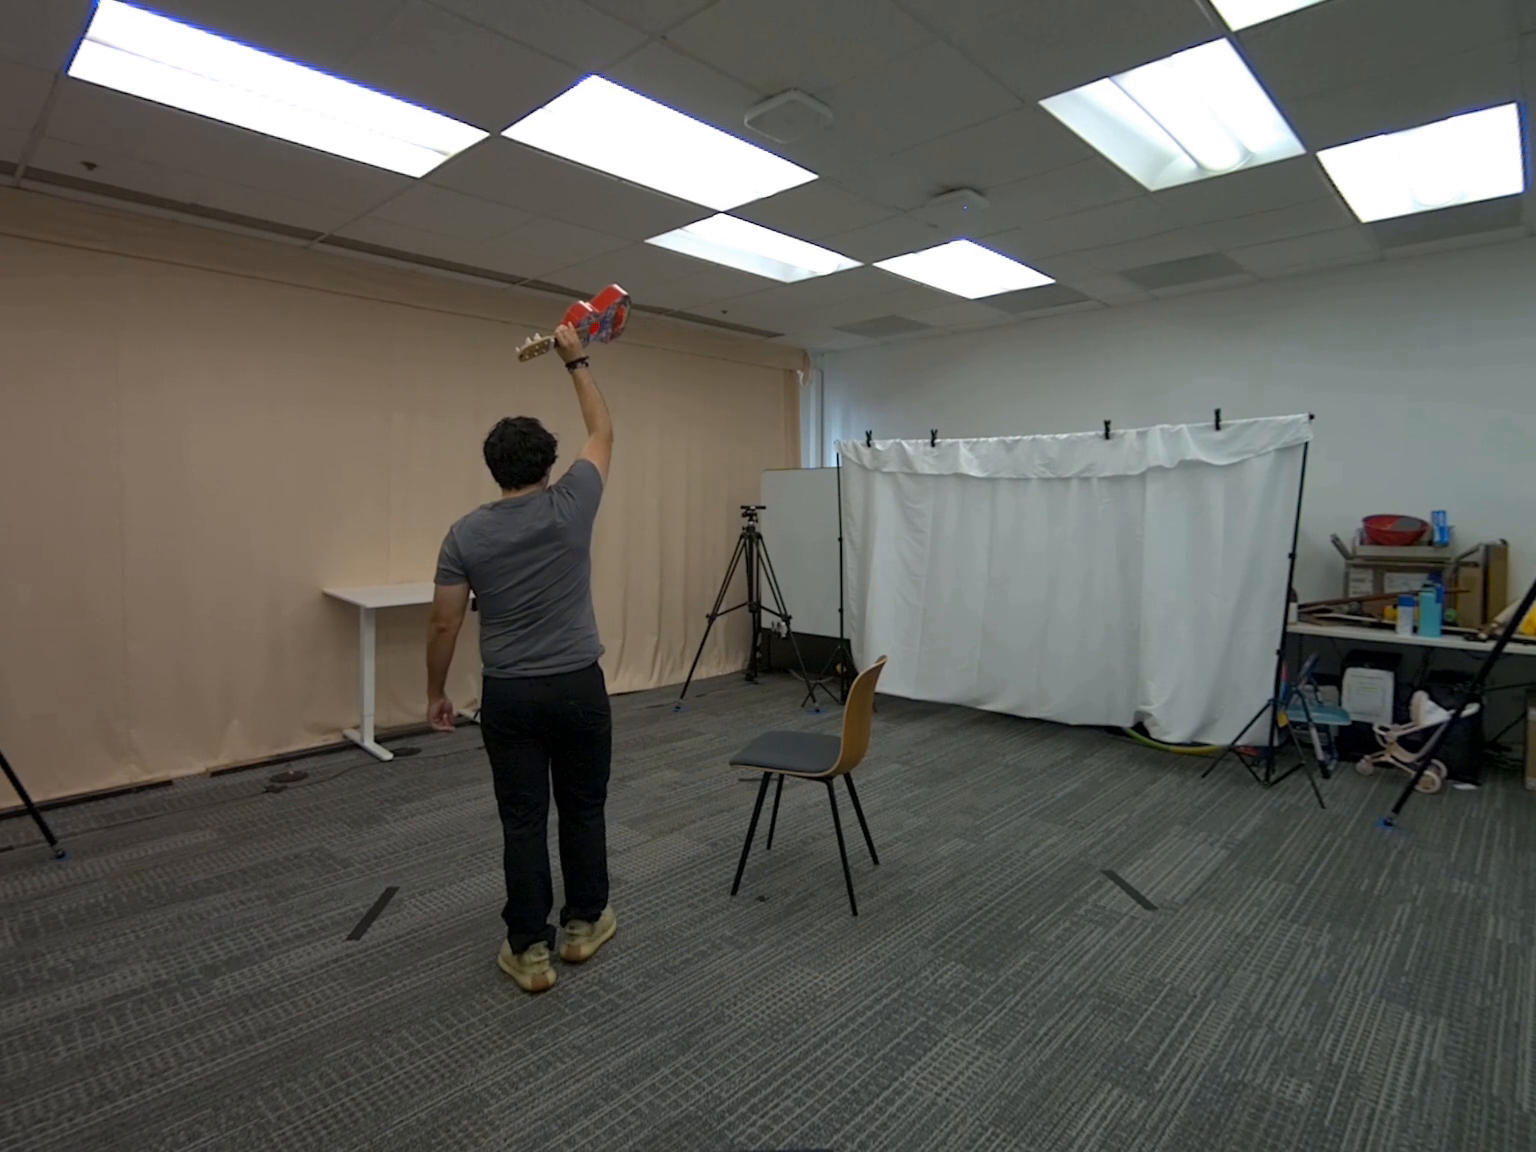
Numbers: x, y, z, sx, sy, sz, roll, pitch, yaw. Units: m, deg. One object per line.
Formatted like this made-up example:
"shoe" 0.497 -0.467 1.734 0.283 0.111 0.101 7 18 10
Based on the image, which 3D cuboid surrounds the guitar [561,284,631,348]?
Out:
"guitar" -0.617 -0.815 2.695 0.072 0.193 0.490 39 37 11
